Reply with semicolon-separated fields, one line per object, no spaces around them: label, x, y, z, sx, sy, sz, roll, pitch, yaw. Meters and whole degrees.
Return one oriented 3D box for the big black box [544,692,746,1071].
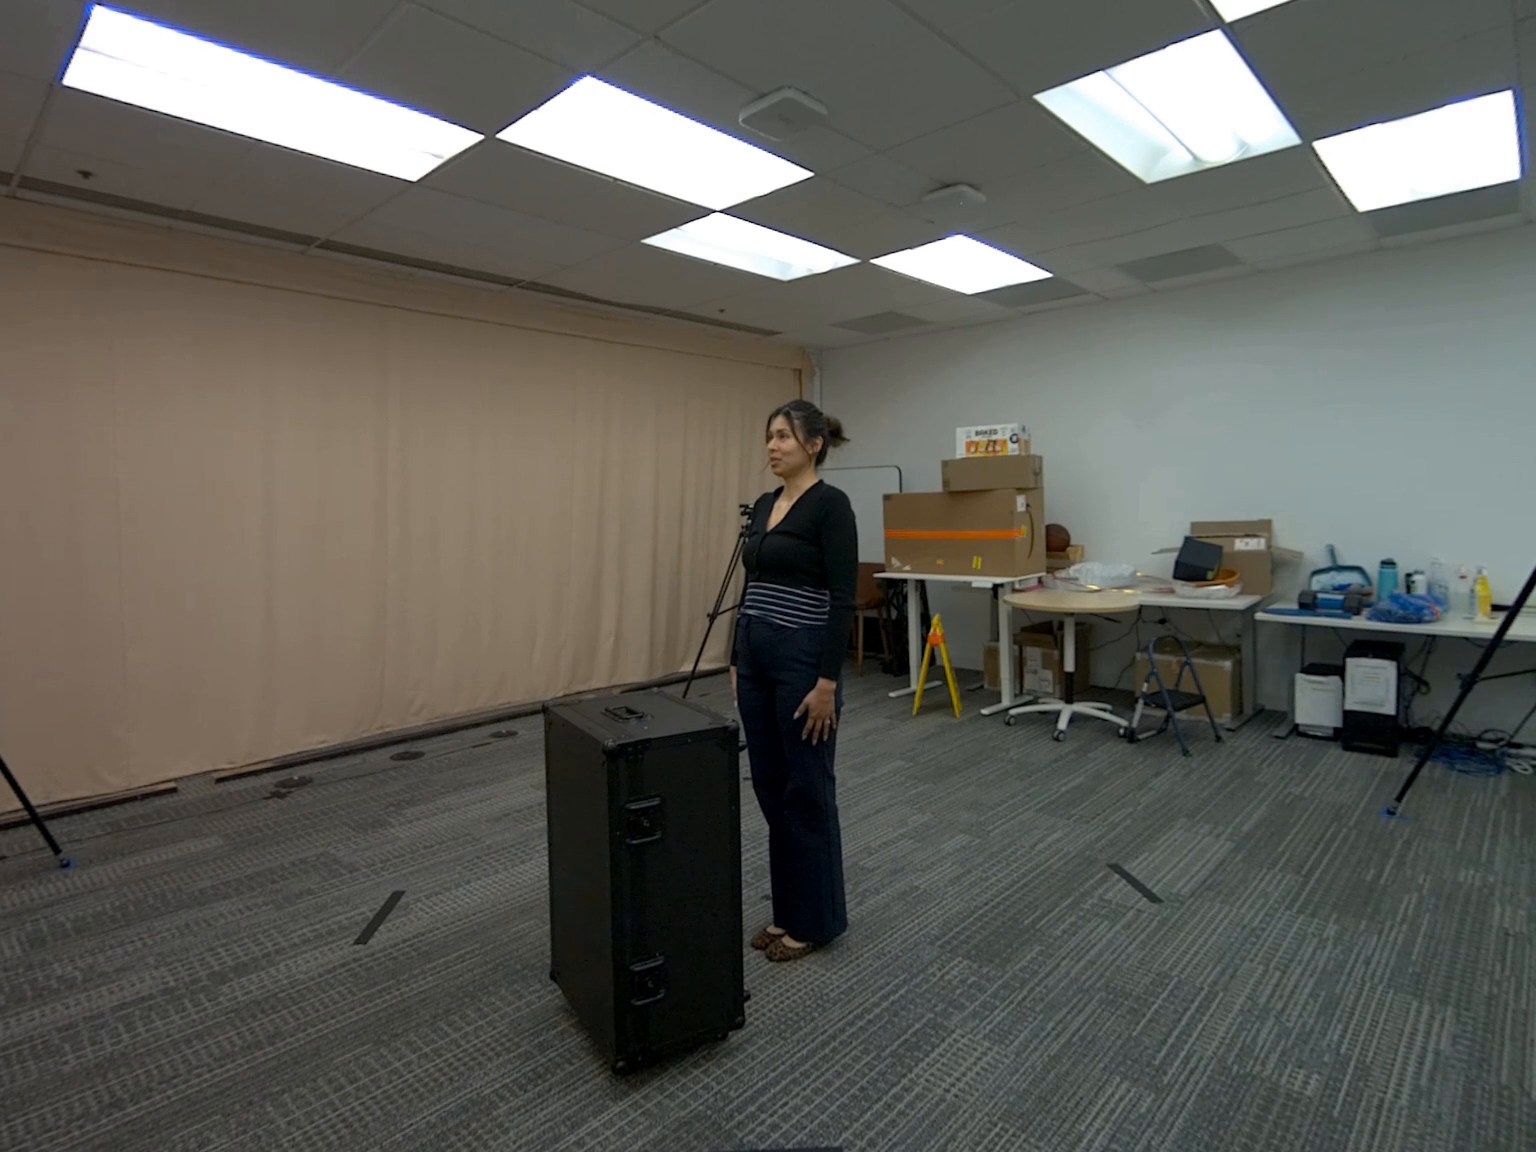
big black box;-0.332;0.785;2.238;0.385;0.860;0.536;-2;3;-31
